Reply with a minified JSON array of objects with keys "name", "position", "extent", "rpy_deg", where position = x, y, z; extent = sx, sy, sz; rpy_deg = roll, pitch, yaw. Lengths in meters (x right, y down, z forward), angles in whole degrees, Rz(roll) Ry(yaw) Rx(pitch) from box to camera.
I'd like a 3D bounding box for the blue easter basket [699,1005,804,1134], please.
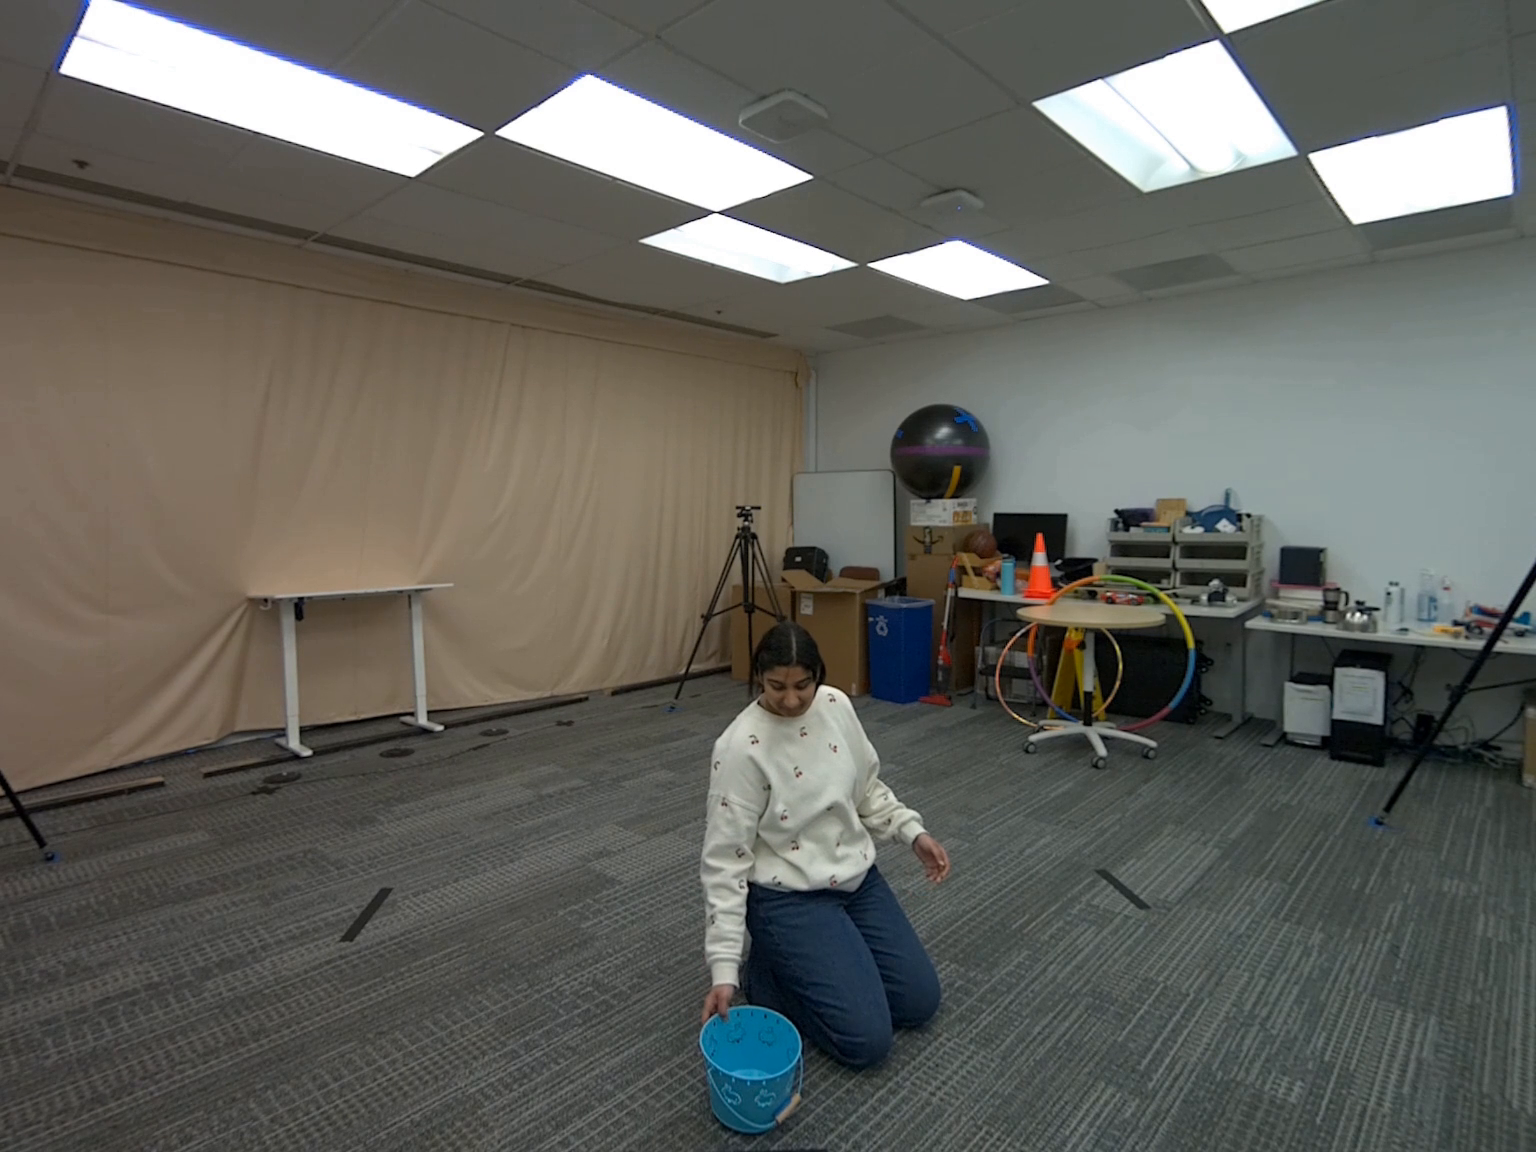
[{"name":"blue easter basket","position":[-0.045,1.131,1.923],"extent":[0.243,0.155,0.245],"rpy_deg":[-1,9,-2]}]
